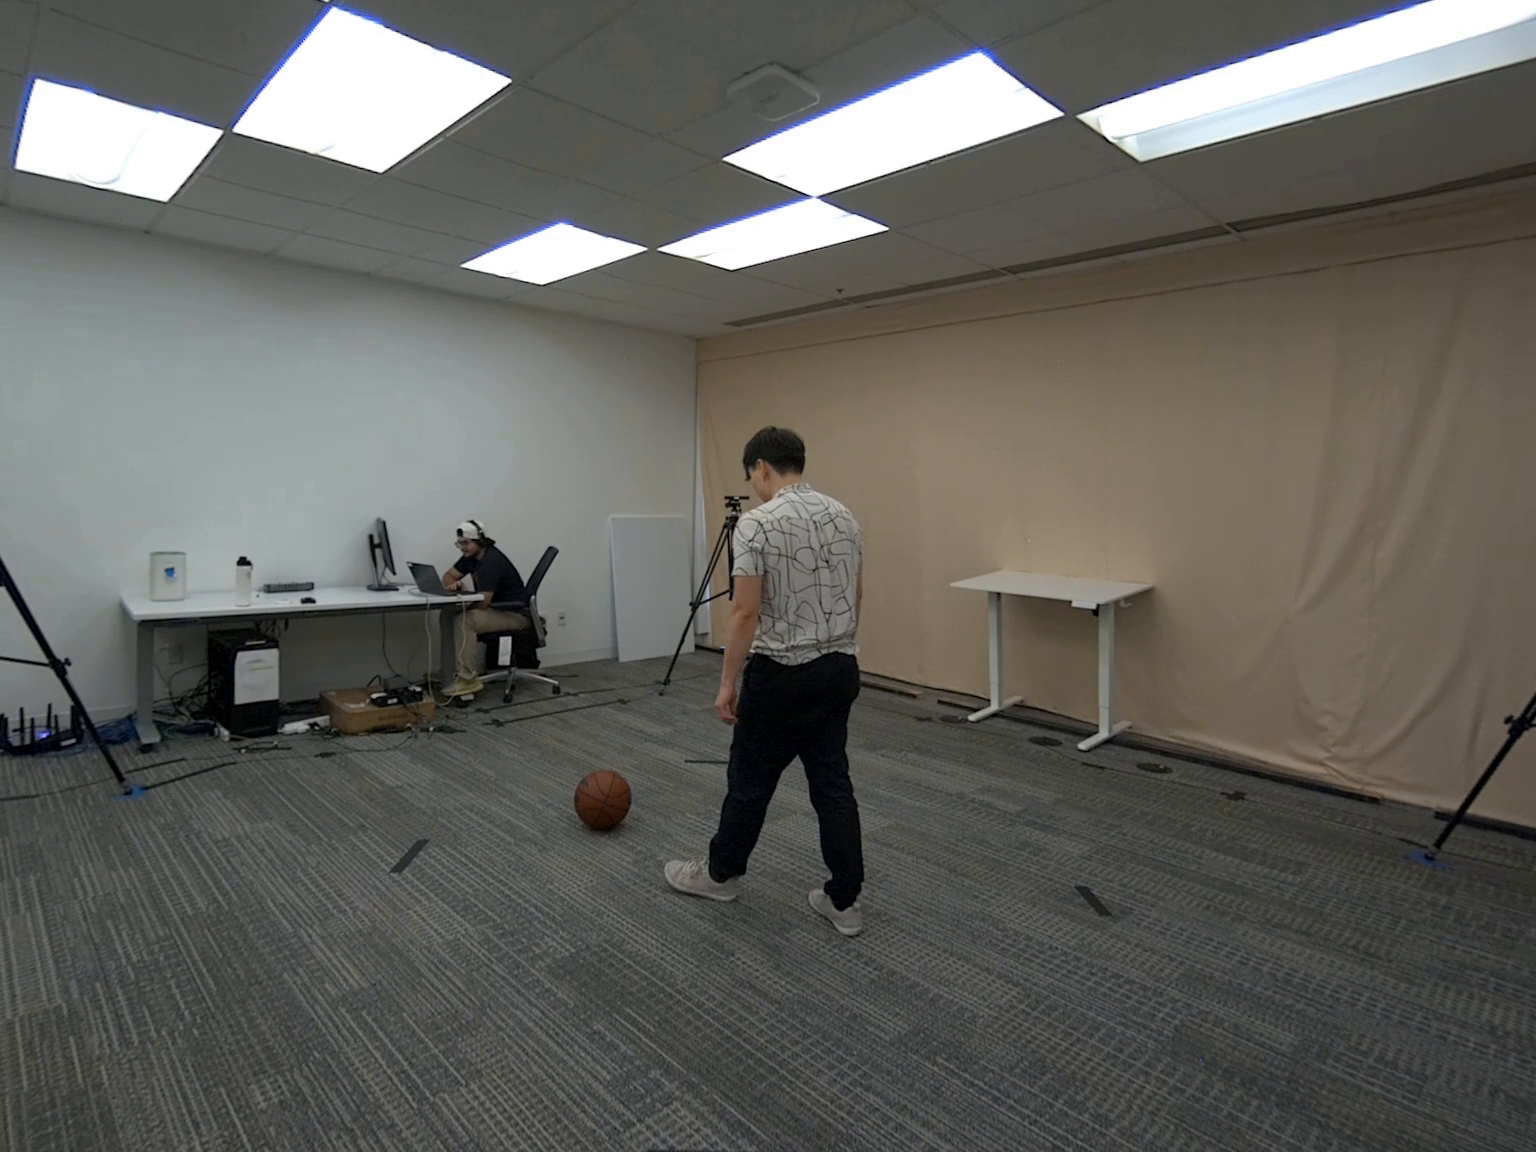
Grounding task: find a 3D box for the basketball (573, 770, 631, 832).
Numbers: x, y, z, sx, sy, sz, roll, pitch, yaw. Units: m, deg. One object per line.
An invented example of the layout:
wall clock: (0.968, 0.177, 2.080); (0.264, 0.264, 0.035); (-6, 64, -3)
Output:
basketball: (-0.699, 0.934, 3.519); (0.236, 0.235, 0.237); (1, 4, -1)
